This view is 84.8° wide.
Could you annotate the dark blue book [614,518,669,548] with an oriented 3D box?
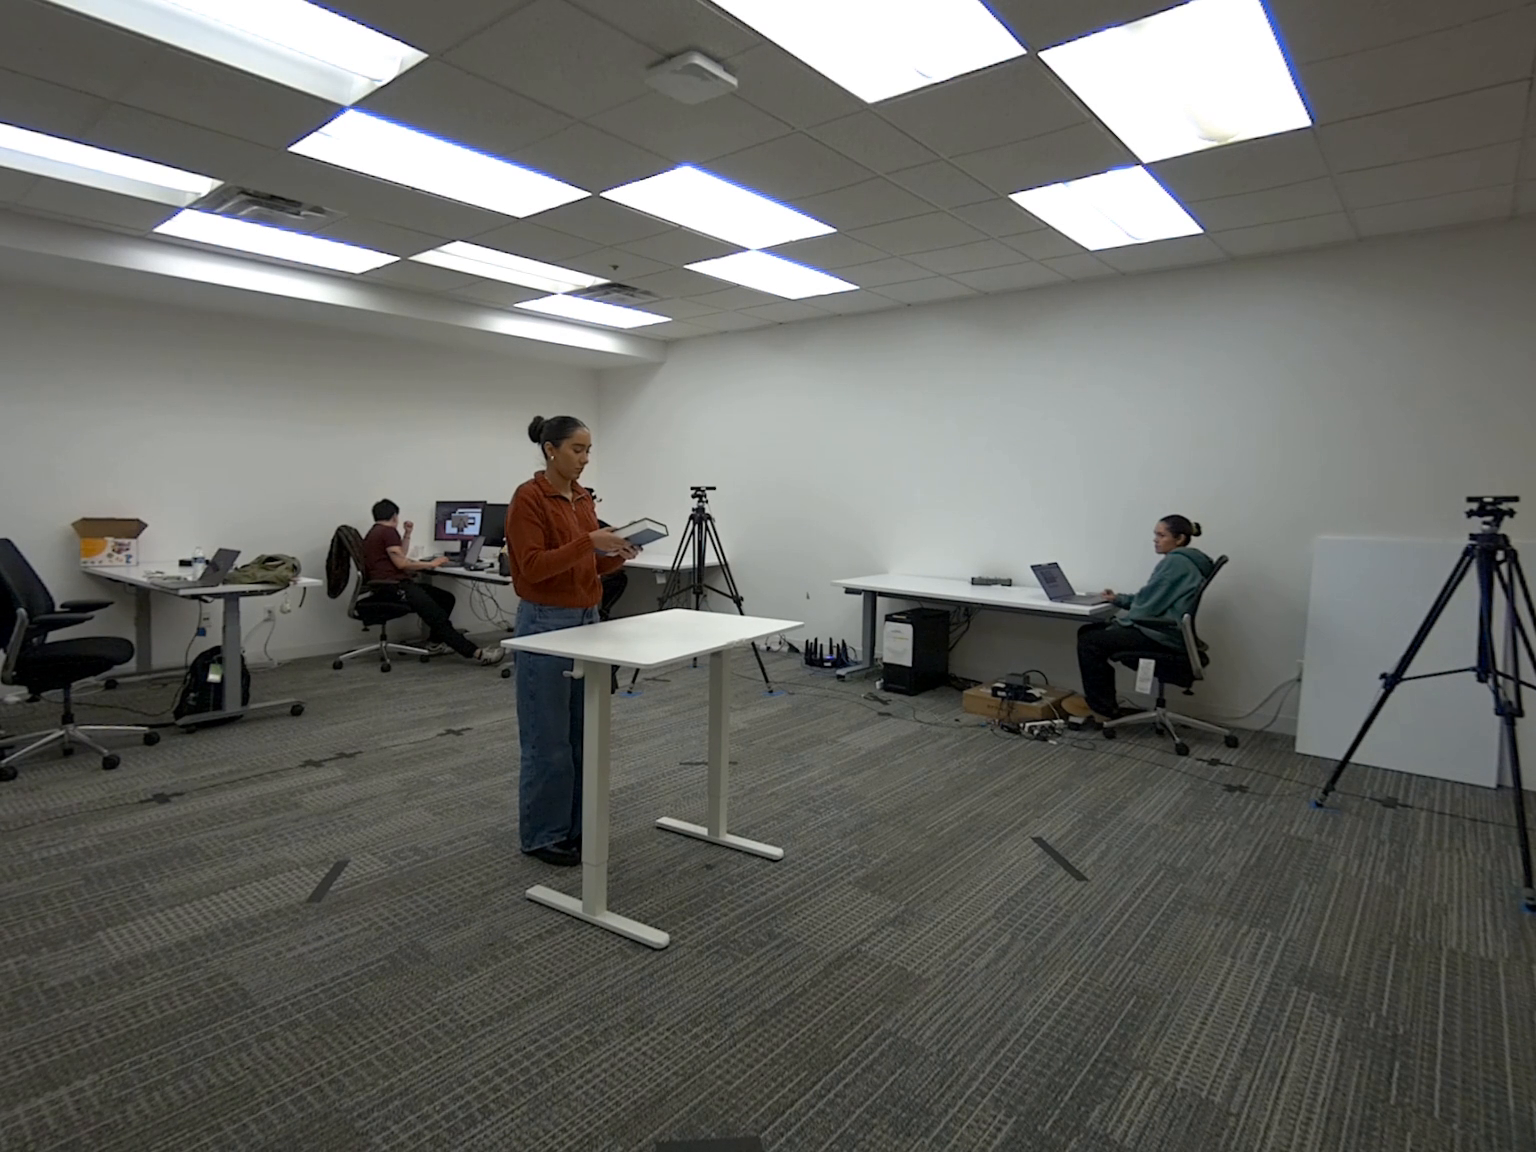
[{"bbox_3d":[-0.515,-0.141,3.085,0.248,0.046,0.159,-18,-13,17],"label":"dark blue book"}]
